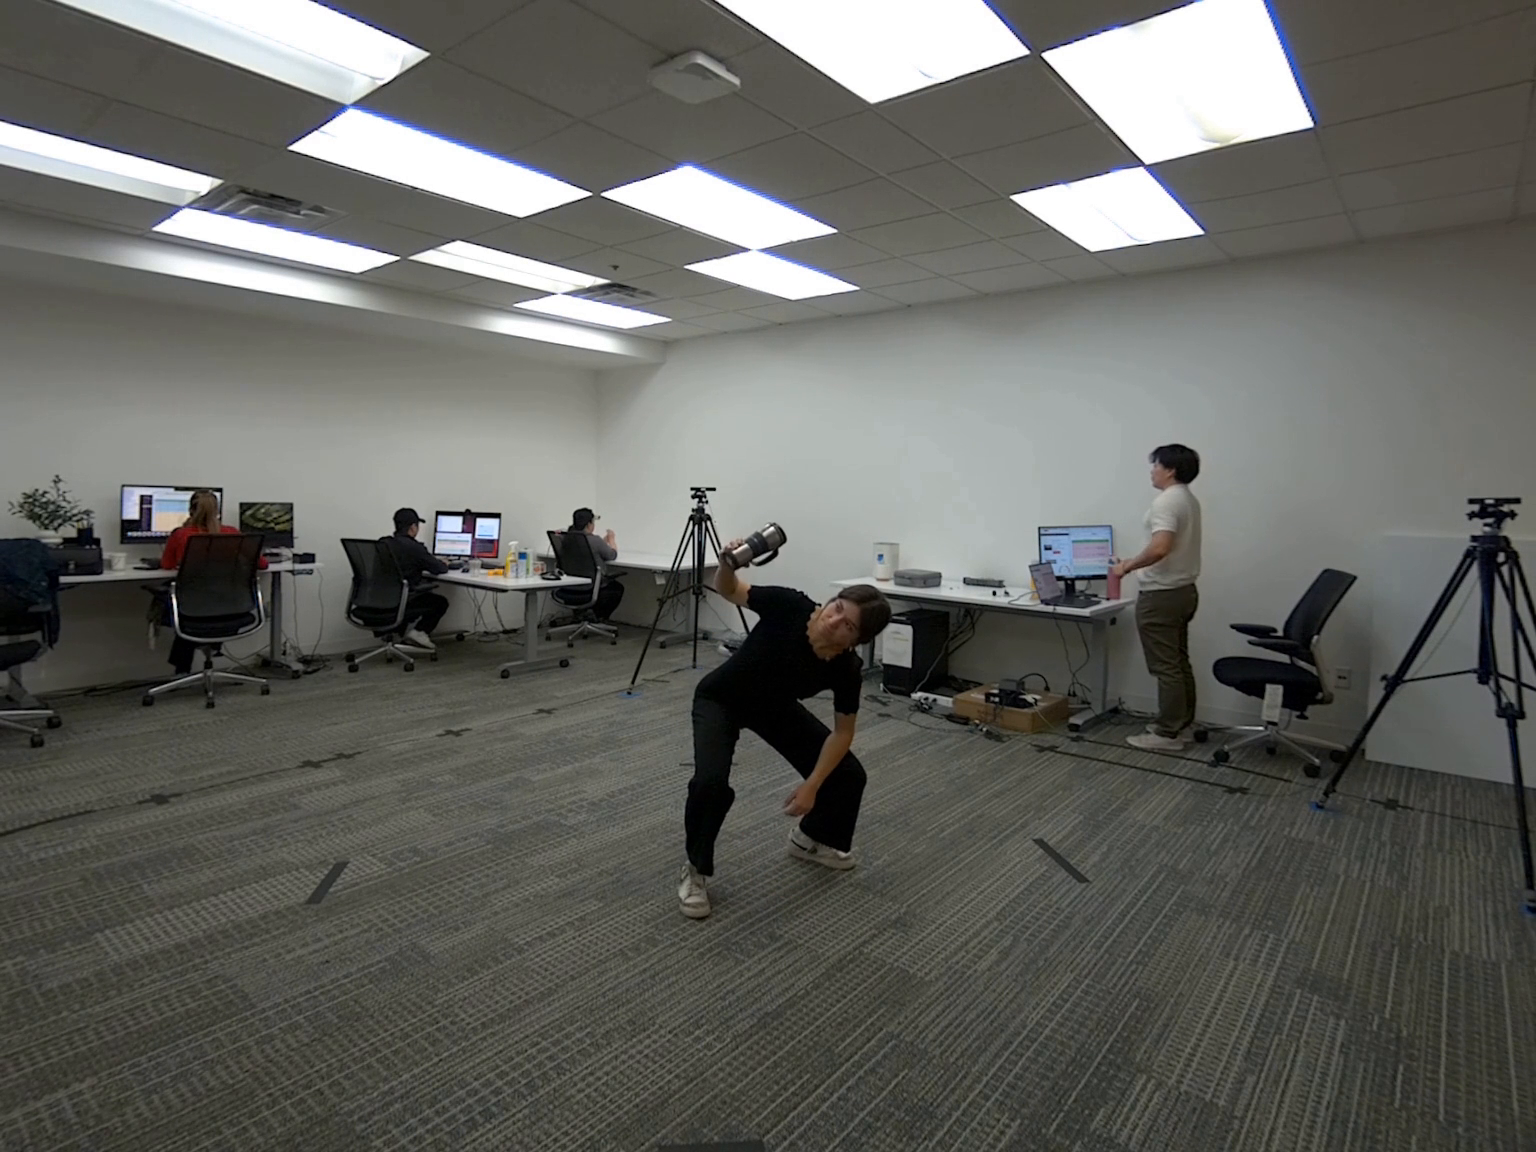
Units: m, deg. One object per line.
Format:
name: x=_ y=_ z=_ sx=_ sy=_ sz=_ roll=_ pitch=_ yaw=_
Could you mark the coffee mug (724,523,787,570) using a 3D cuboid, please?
coffee mug: x=-0.047 y=-0.071 z=2.735 sx=0.201 sy=0.121 sz=0.089 roll=-34 pitch=3 yaw=-25
